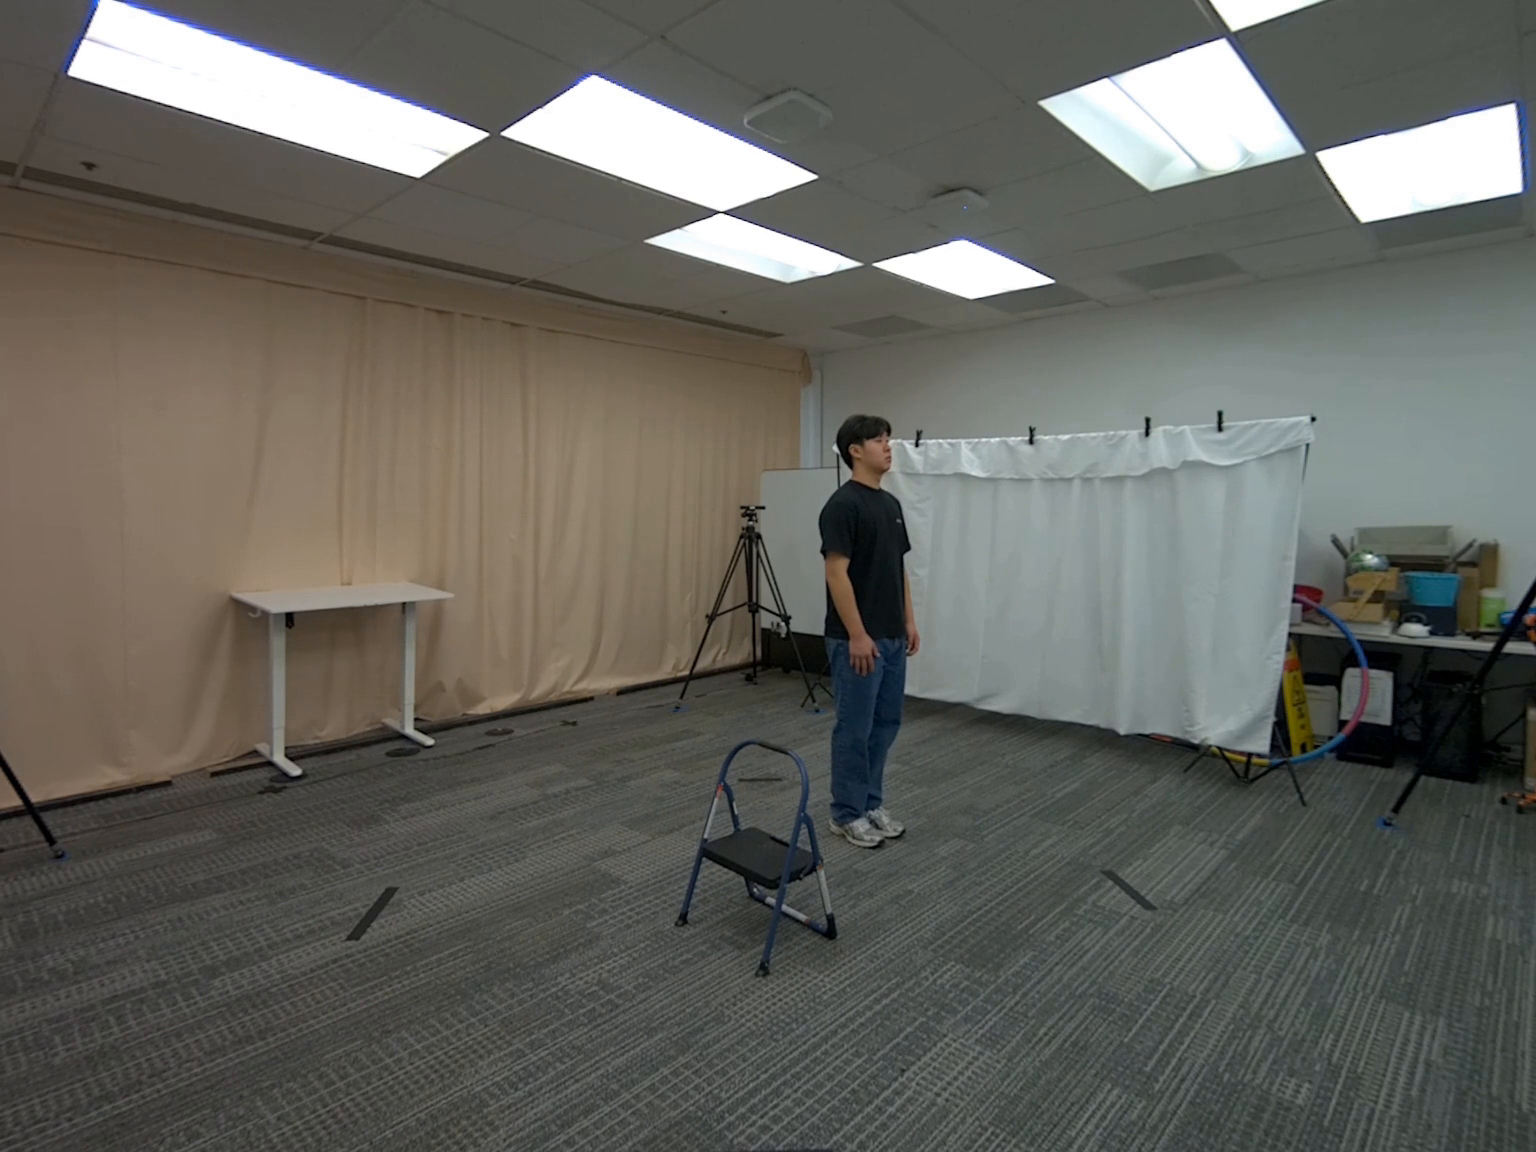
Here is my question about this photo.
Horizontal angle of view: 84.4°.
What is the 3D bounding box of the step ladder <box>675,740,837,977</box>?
[{"bbox_3d":[-0.034,0.858,2.741,0.338,0.605,0.445,-2,5,-42],"label":"step ladder"}]
